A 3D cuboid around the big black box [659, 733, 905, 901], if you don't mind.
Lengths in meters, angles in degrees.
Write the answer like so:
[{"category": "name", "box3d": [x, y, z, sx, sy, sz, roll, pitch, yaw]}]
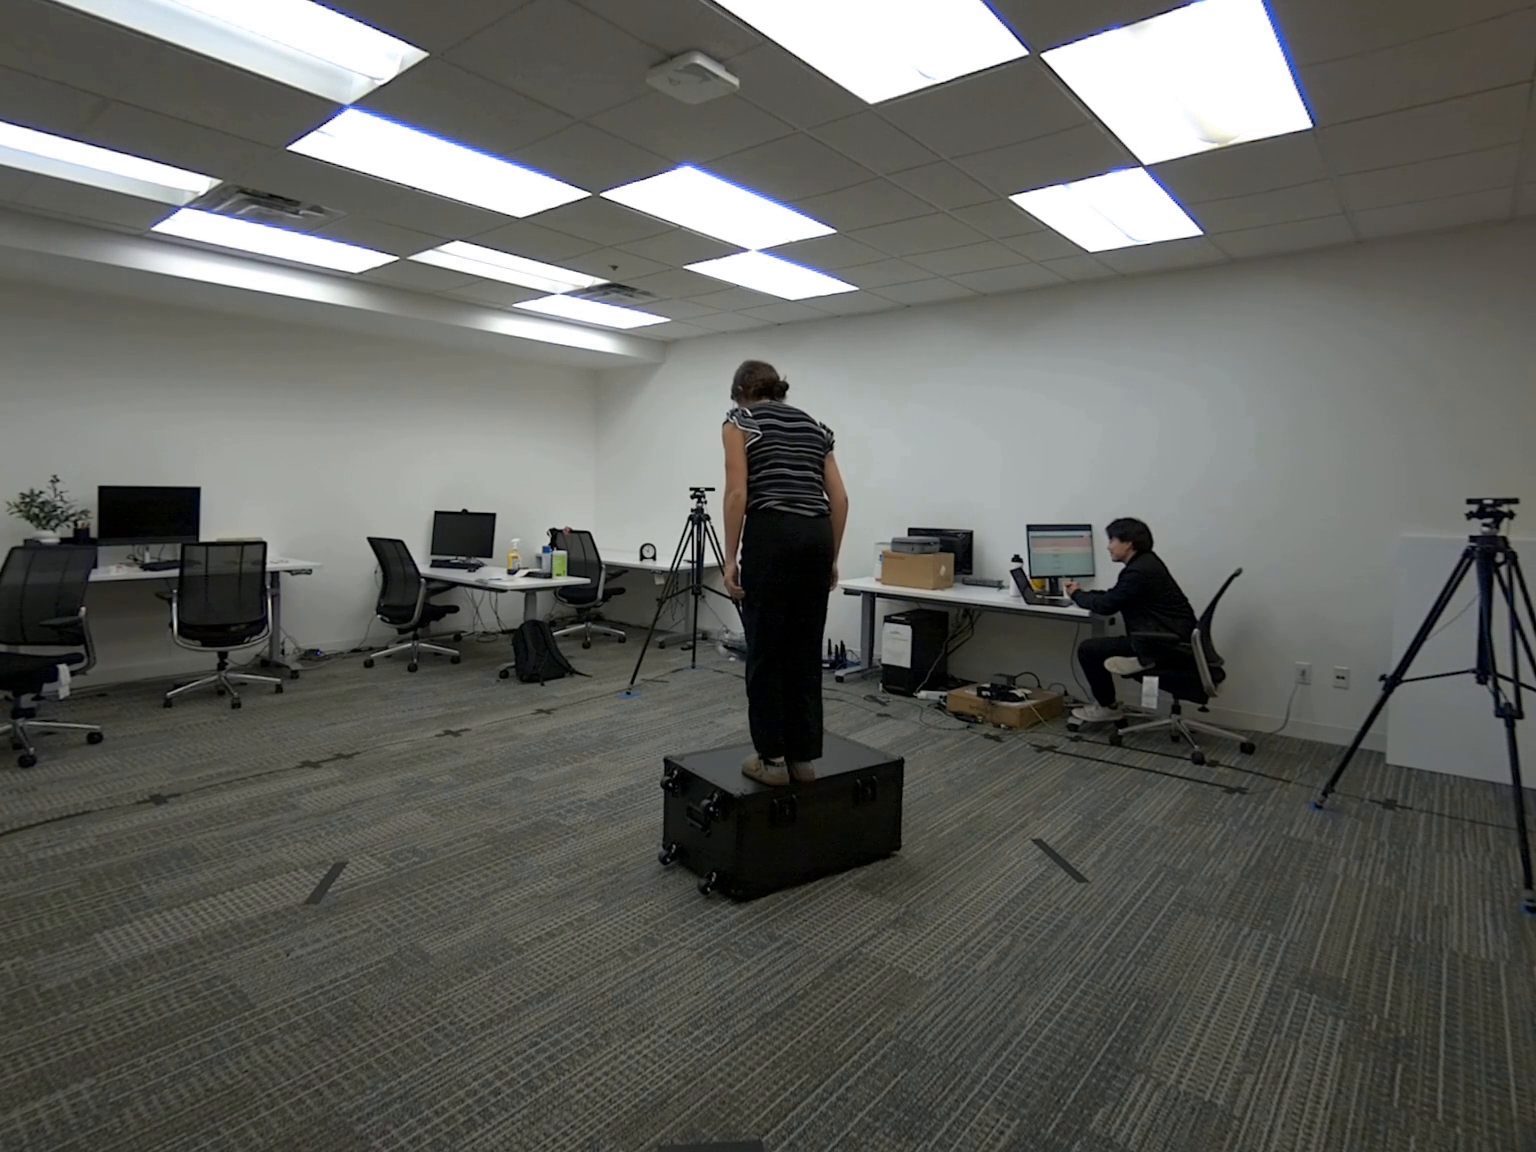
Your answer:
[{"category": "big black box", "box3d": [0.026, 0.872, 3.211, 0.836, 0.395, 0.538, -2, 5, -36]}]
